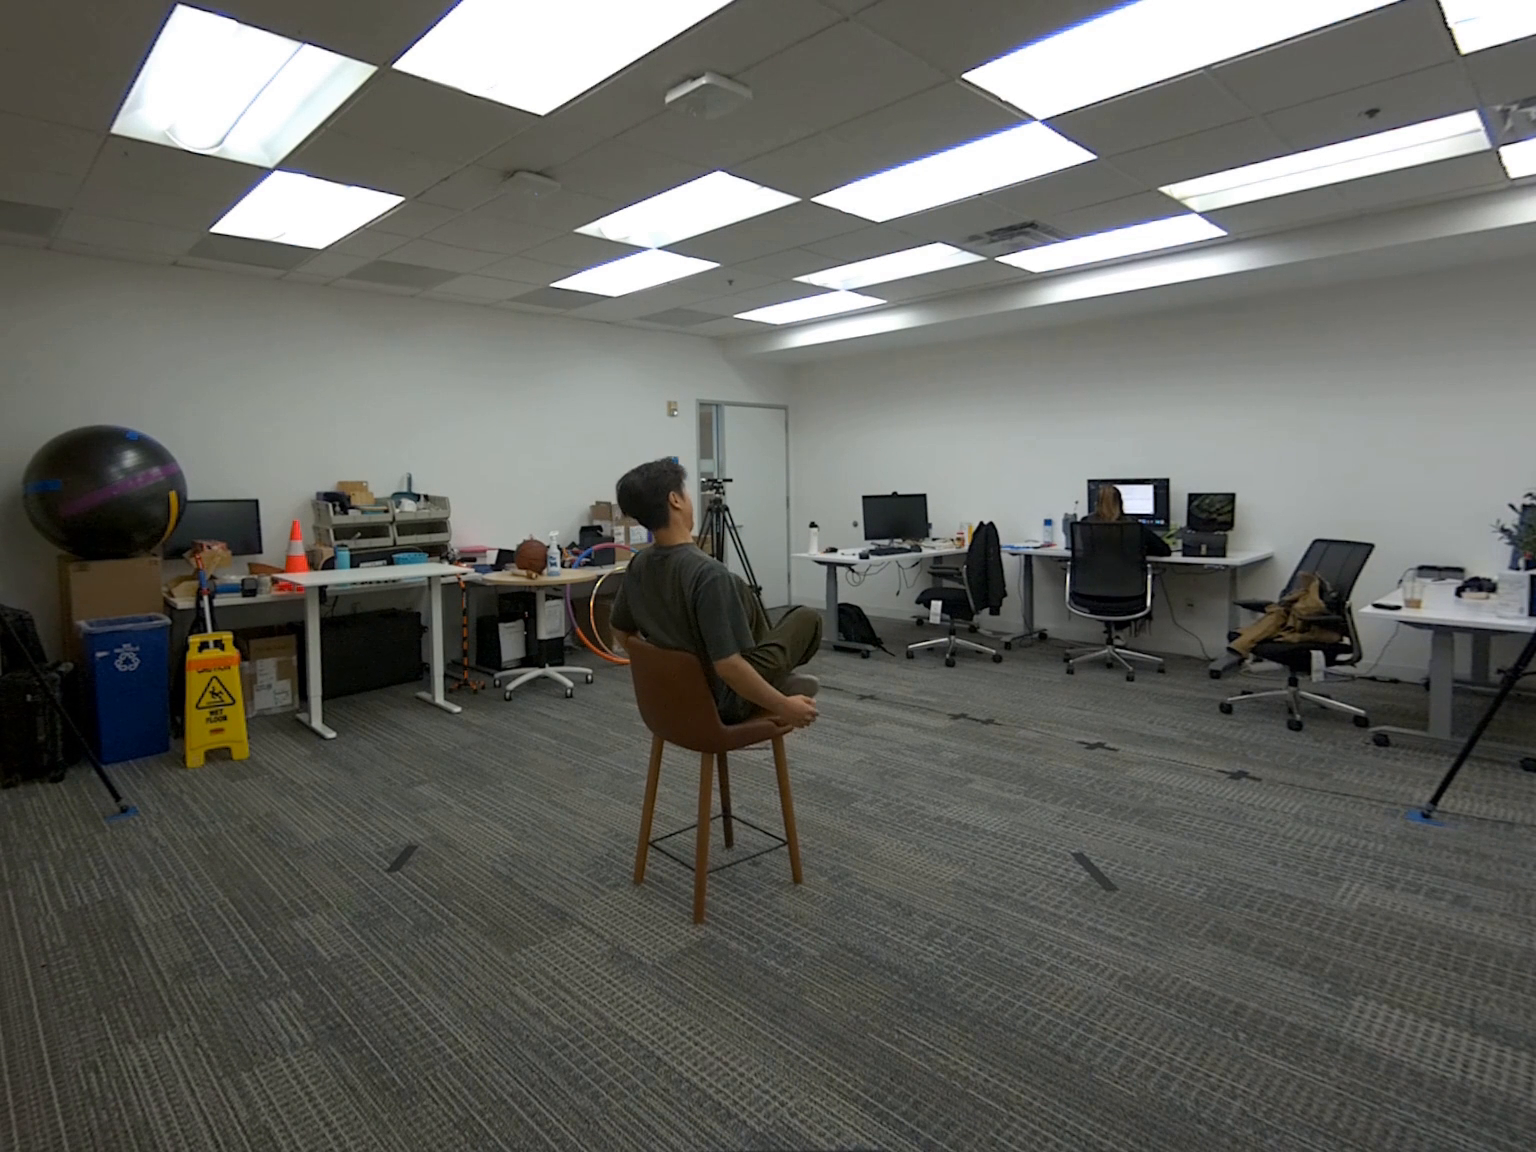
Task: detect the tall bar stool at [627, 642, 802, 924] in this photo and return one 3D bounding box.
[{"bbox_3d":[-0.190,0.631,2.936,0.456,0.885,0.470,-7,7,-40],"label":"tall bar stool"}]
